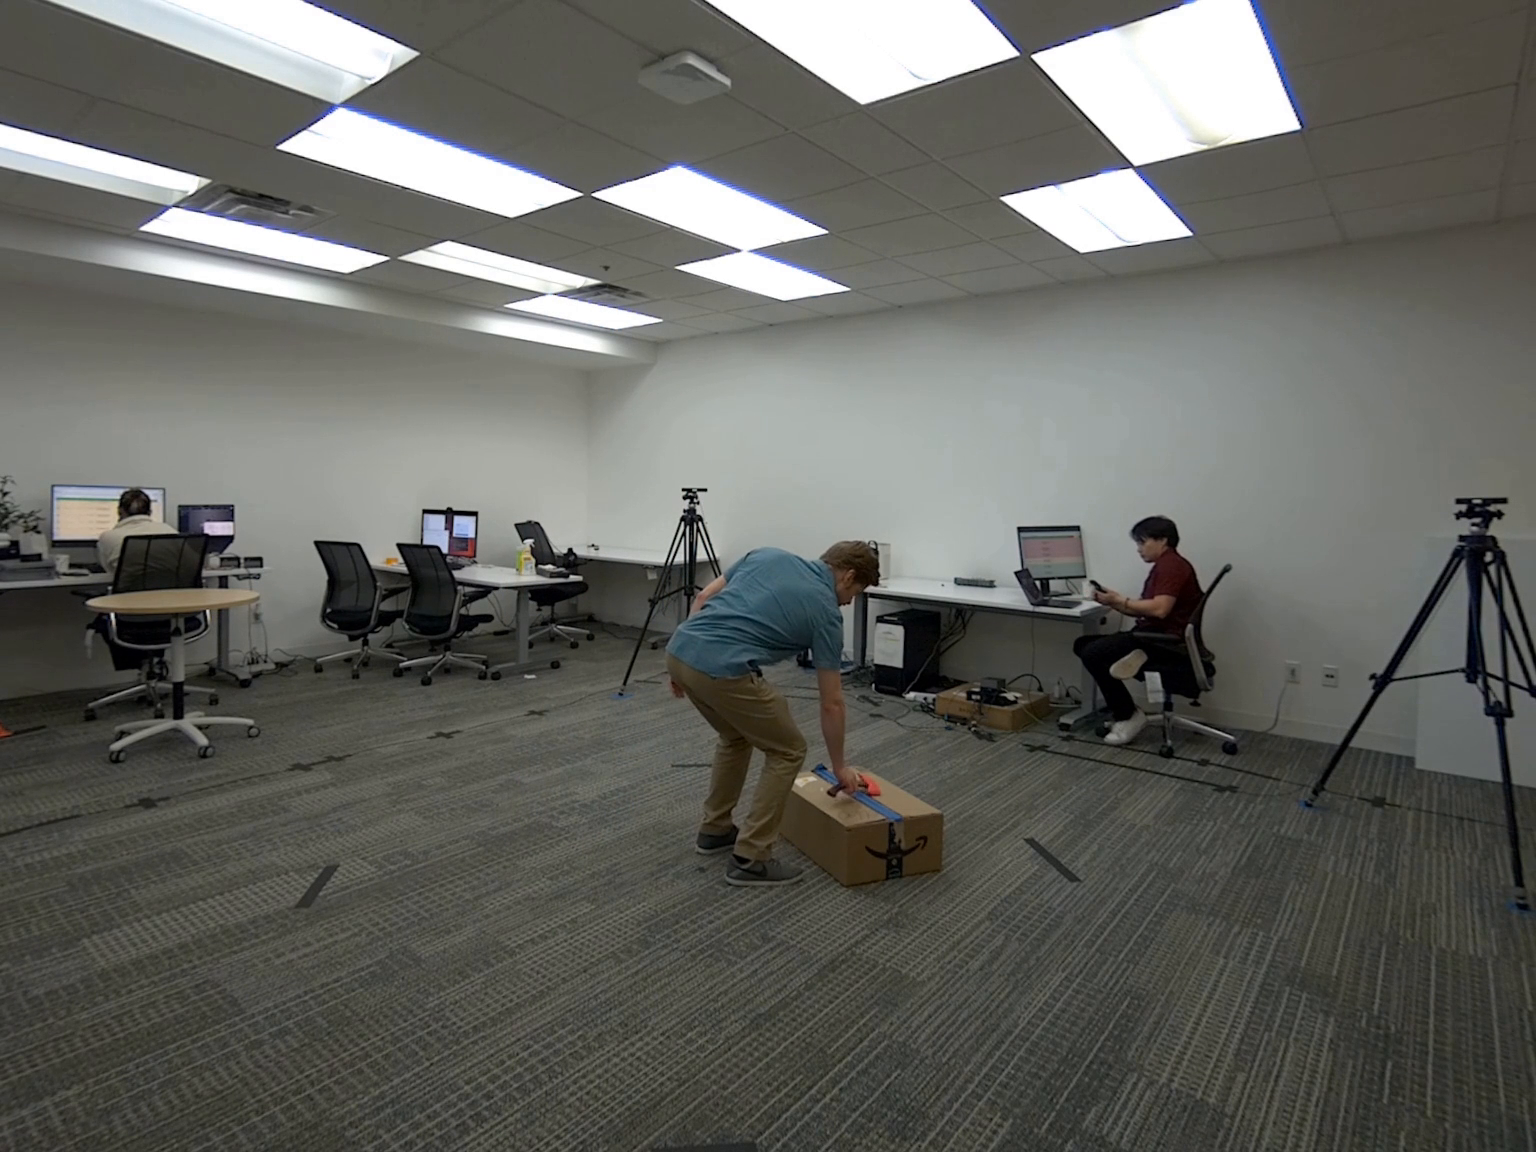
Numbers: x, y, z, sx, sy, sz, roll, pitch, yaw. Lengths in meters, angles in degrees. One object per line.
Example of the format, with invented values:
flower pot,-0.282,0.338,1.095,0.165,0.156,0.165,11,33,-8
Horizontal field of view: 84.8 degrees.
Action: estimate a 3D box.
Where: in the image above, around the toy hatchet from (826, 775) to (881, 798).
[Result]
toy hatchet,0.332,0.822,3.255,0.136,0.029,0.262,30,21,33
